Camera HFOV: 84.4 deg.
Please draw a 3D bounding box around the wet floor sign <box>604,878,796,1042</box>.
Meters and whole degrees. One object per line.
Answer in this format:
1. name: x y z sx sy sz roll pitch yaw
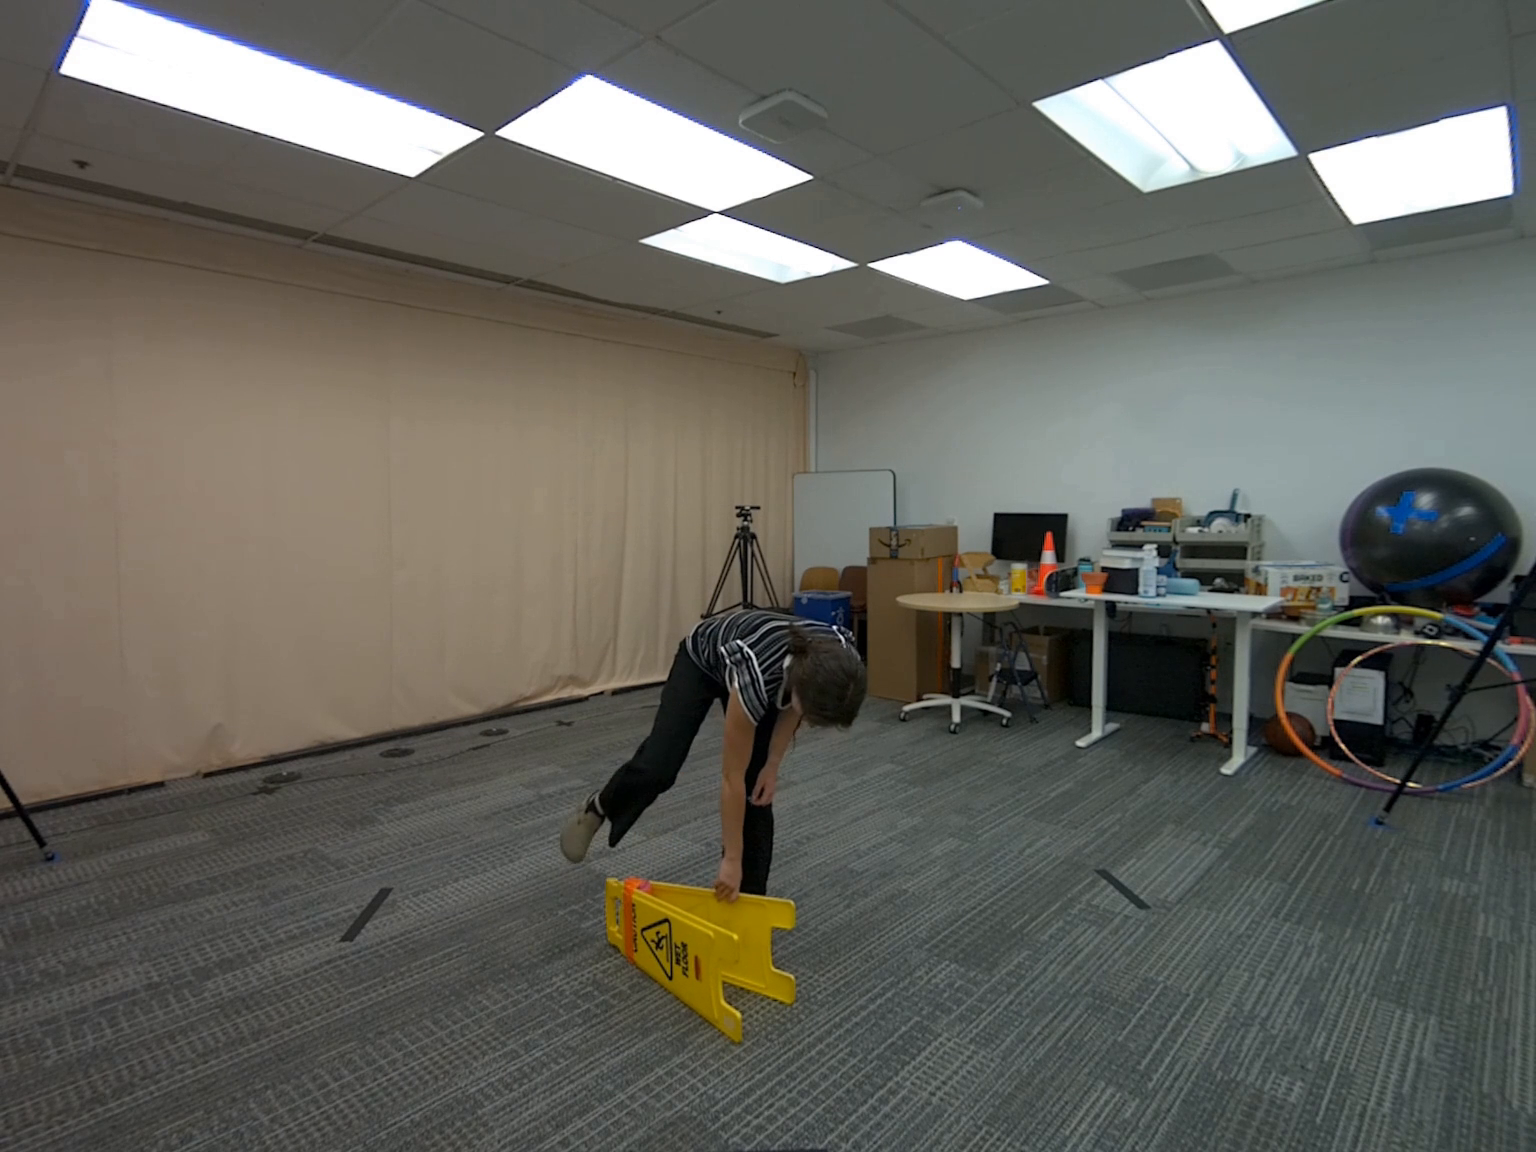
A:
1. wet floor sign: -0.255 1.063 2.477 0.666 0.282 0.281 0 2 39
